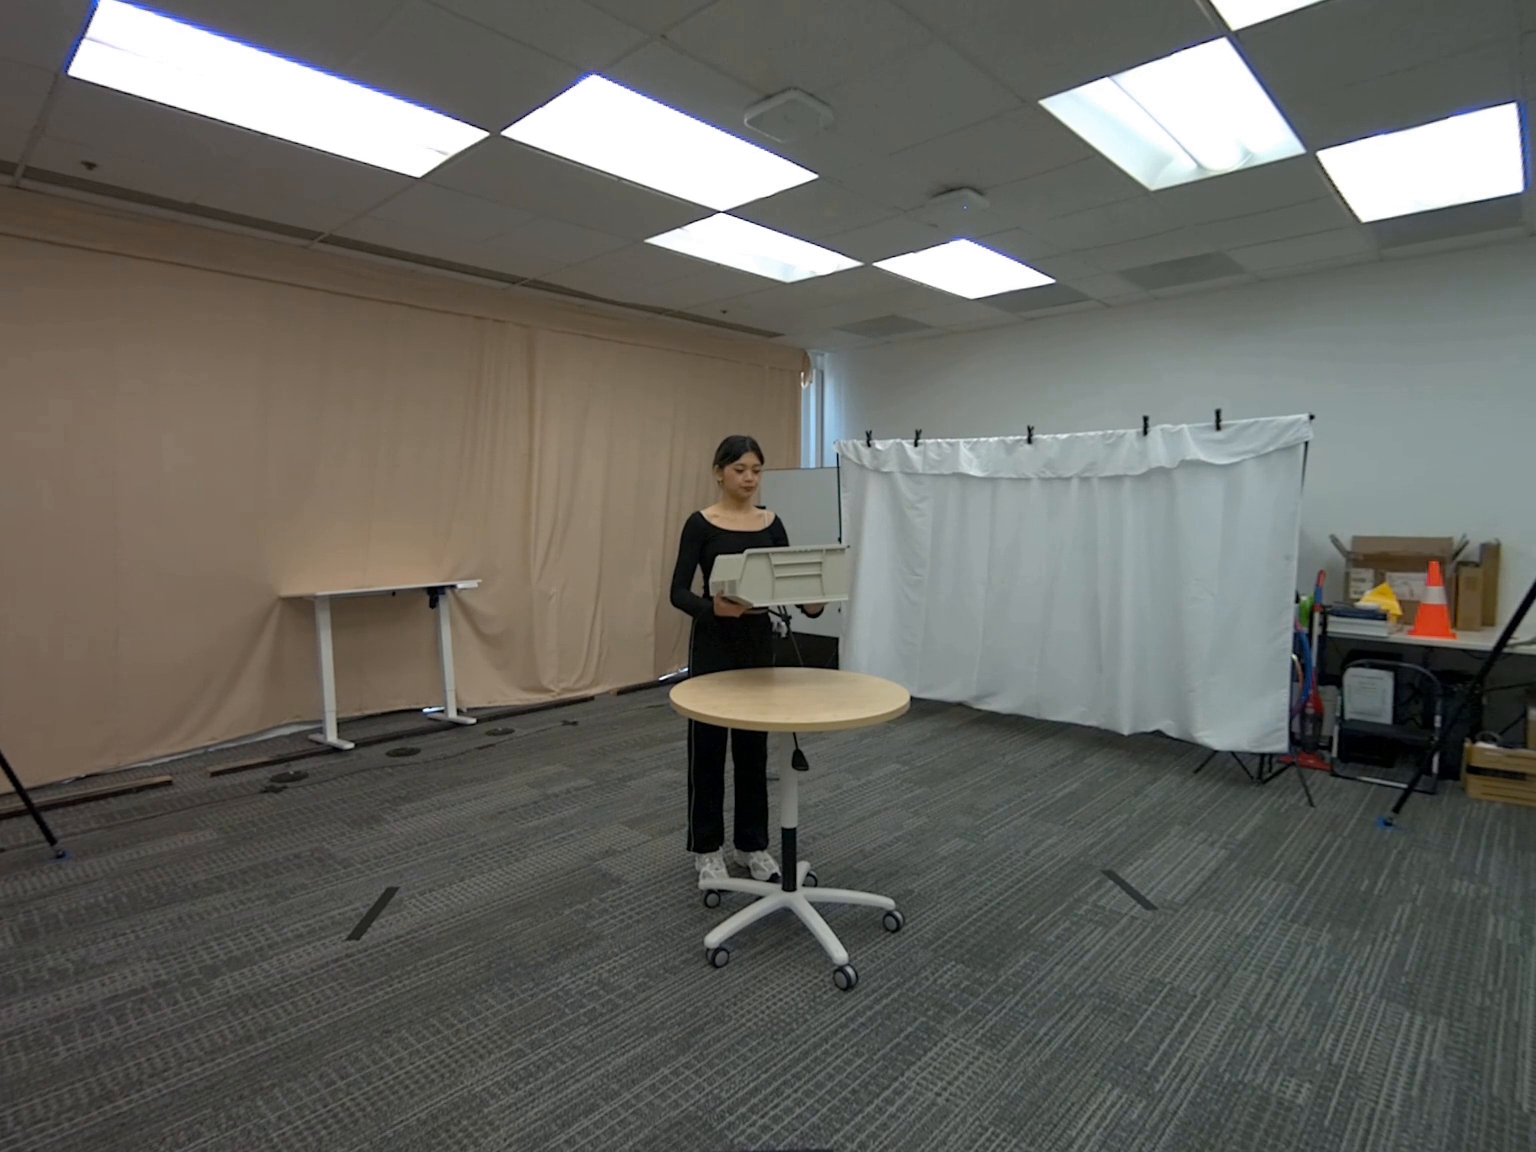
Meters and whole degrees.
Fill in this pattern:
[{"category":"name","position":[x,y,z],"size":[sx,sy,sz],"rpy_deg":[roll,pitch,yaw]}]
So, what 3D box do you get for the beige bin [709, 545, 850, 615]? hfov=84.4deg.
[{"category":"beige bin","position":[0.026,0.009,2.831],"size":[0.372,0.189,0.427],"rpy_deg":[-4,-1,-14]}]
